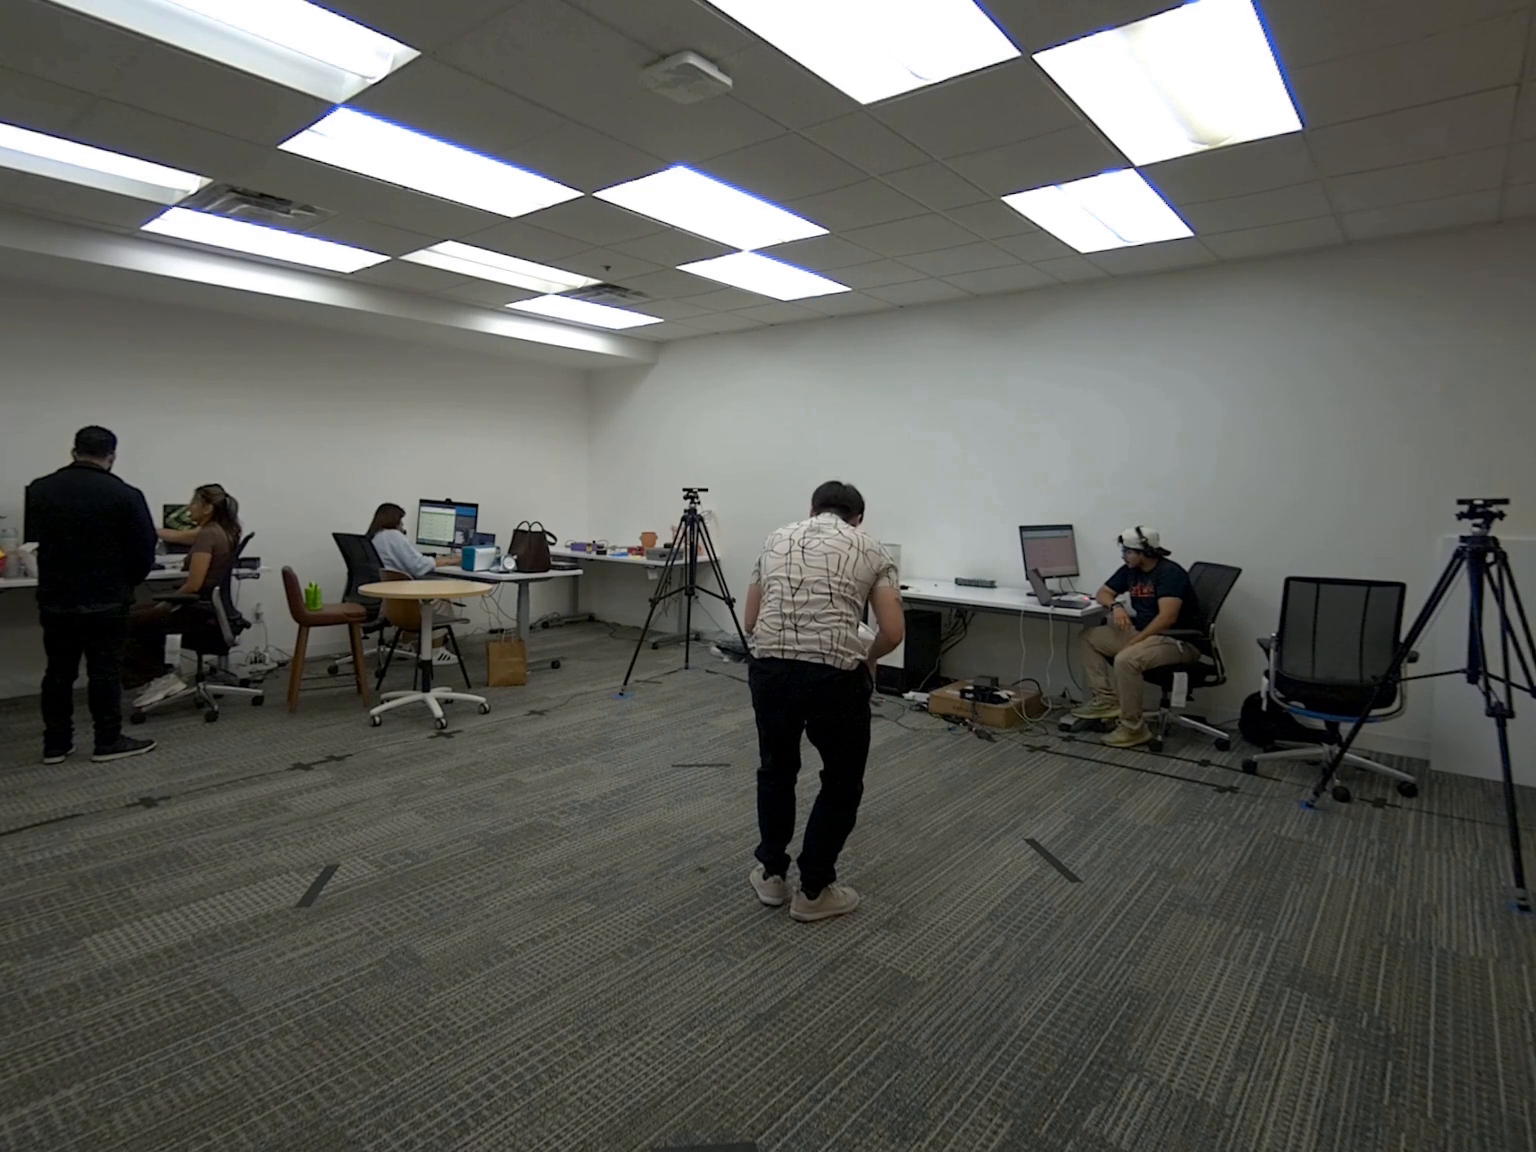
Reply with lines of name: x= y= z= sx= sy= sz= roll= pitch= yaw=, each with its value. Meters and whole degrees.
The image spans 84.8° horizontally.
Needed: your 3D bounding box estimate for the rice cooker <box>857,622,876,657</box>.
rice cooker: x=0.280 y=0.271 z=3.138 sx=0.226 sy=0.232 sz=0.213 roll=16 pitch=4 yaw=18
